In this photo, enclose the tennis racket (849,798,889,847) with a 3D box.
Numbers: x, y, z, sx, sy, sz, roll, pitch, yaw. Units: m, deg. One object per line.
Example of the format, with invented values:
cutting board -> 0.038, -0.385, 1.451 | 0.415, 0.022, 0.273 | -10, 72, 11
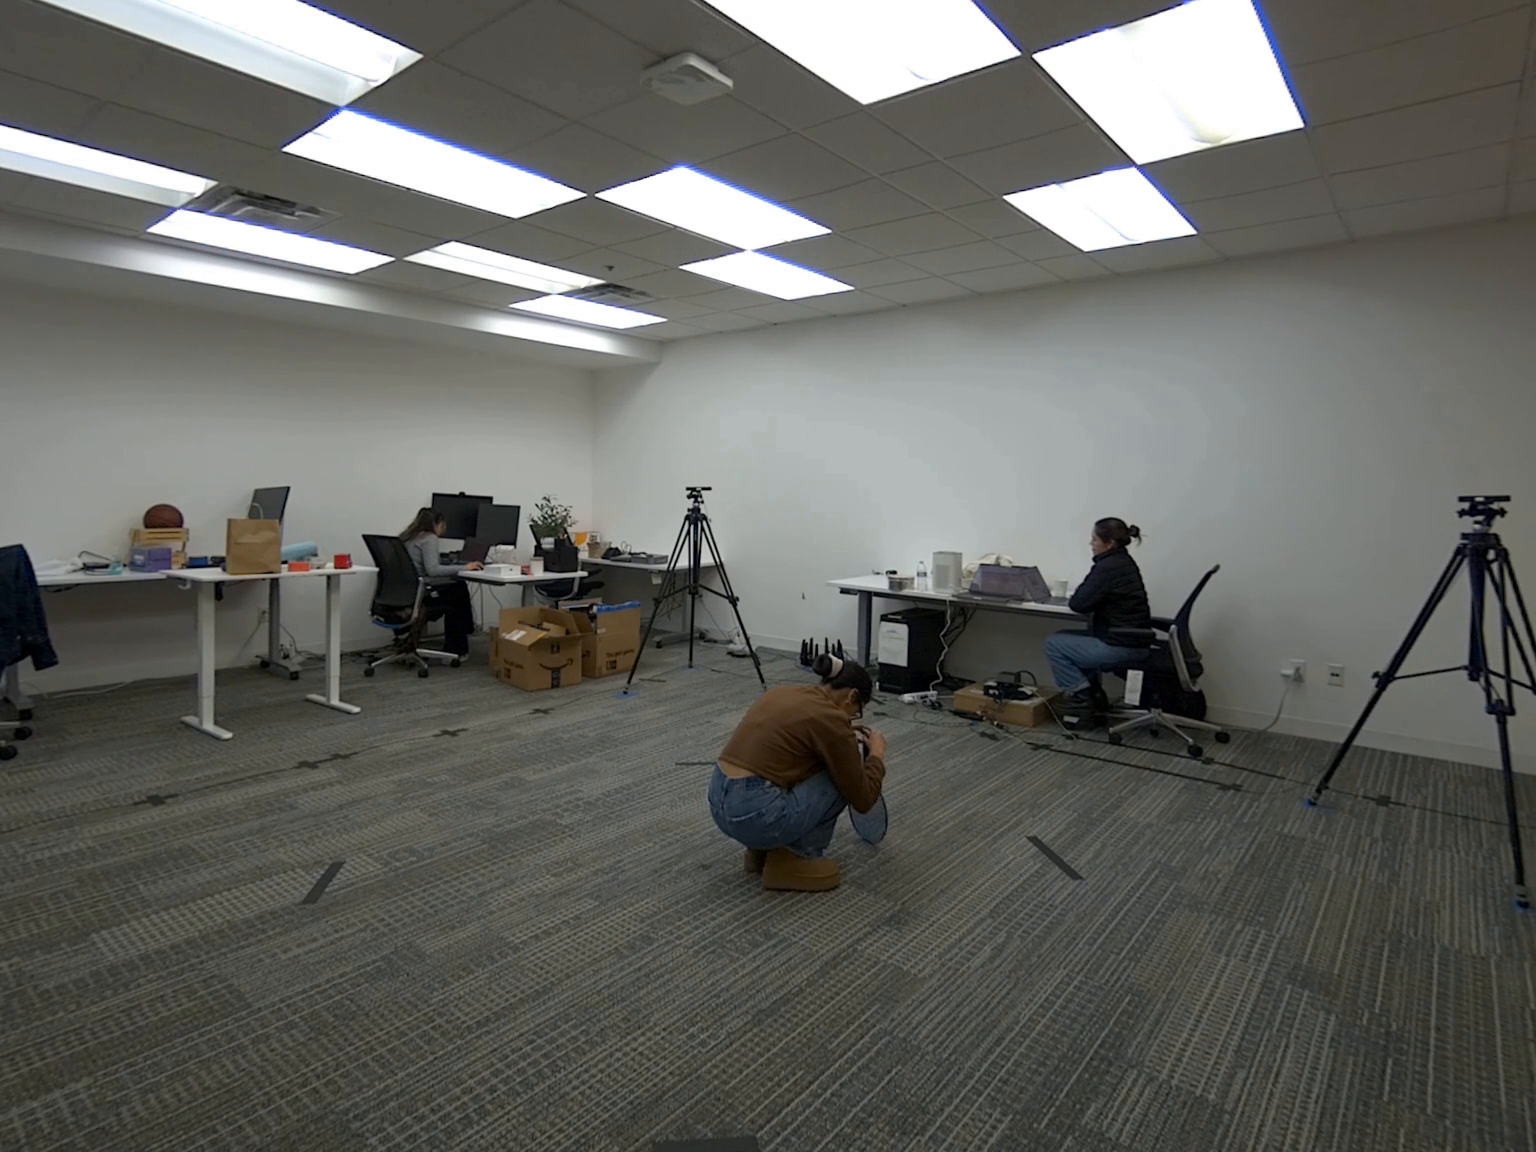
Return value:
tennis racket -> 0.388, 0.847, 3.329 | 0.031, 0.427, 0.222 | -9, 17, -36
